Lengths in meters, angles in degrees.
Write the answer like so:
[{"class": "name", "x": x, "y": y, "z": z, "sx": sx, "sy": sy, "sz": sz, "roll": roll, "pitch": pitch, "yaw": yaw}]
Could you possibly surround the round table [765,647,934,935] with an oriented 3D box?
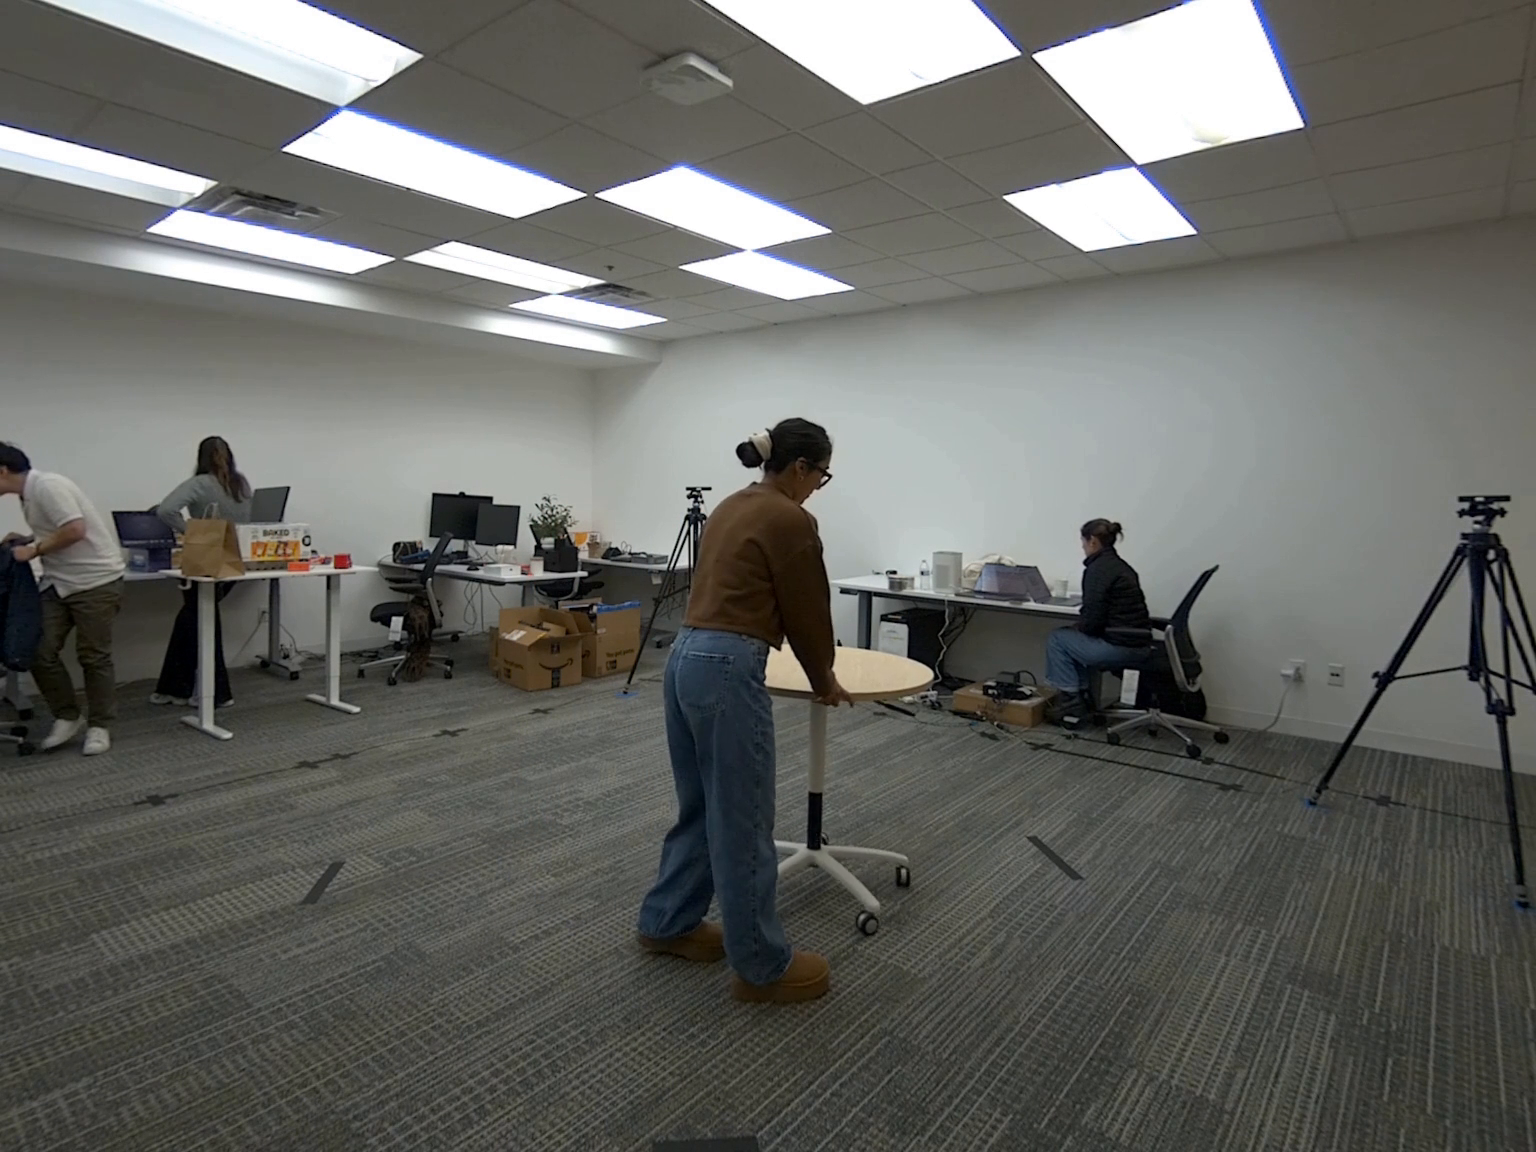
[{"class": "round table", "x": 0.174, "y": 0.694, "z": 2.958, "sx": 0.784, "sy": 0.784, "sz": 0.789, "roll": 1, "pitch": 4, "yaw": -2}]
